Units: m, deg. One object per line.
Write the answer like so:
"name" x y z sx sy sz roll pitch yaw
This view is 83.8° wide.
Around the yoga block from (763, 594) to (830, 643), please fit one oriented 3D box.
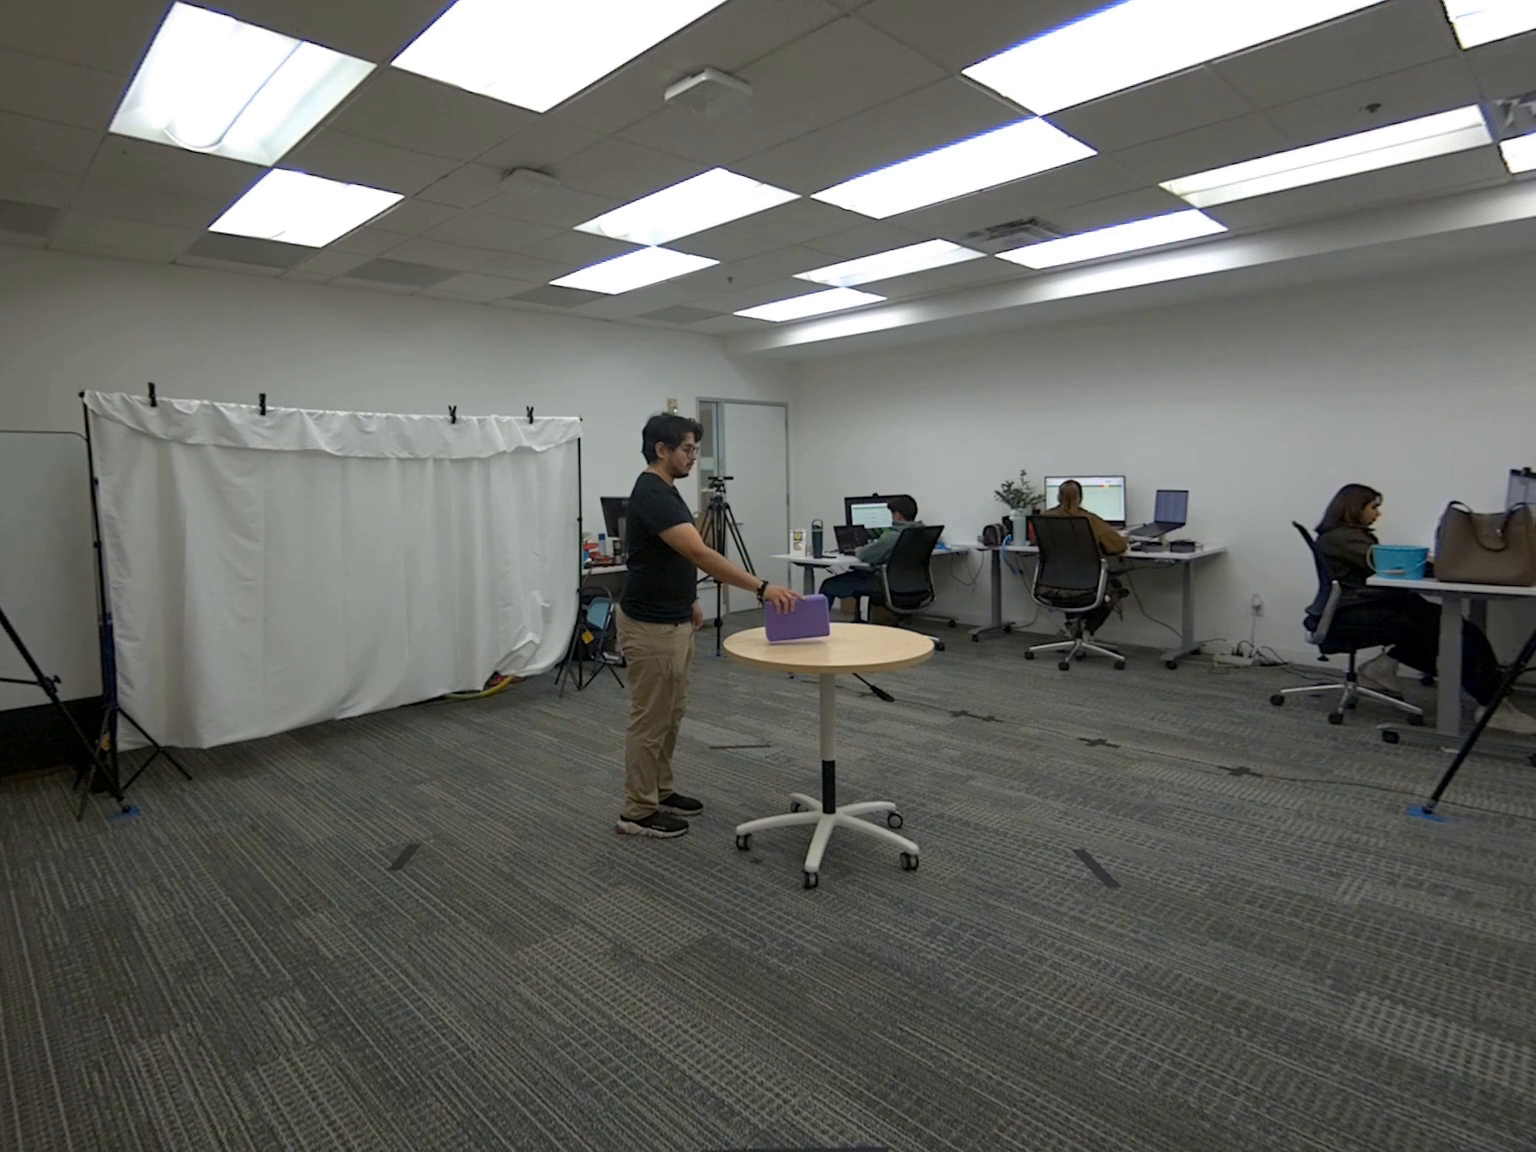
"yoga block" 0.105 0.150 3.131 0.229 0.149 0.077 -6 2 -2
